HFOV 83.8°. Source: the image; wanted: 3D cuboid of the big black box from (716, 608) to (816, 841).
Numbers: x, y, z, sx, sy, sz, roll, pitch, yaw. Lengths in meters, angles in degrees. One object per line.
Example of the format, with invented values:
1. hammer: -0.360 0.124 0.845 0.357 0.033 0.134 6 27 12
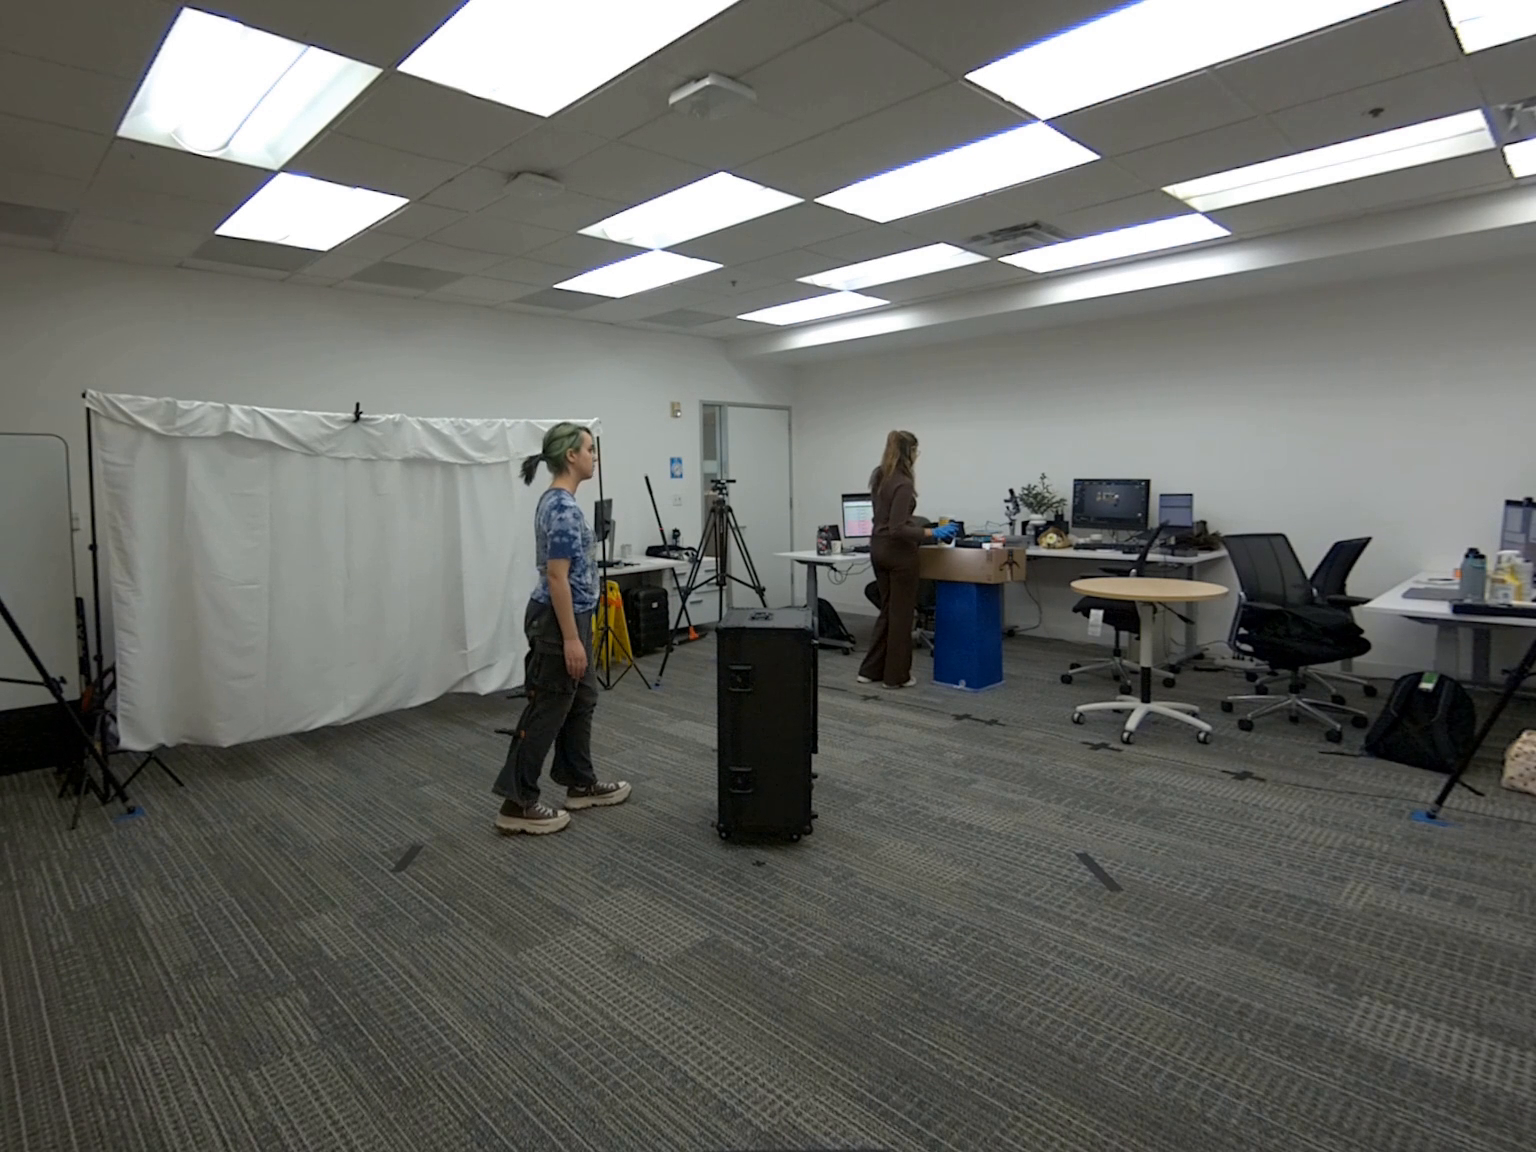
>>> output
1. big black box: 0.002 0.586 3.425 0.398 0.858 0.521 1 5 4
